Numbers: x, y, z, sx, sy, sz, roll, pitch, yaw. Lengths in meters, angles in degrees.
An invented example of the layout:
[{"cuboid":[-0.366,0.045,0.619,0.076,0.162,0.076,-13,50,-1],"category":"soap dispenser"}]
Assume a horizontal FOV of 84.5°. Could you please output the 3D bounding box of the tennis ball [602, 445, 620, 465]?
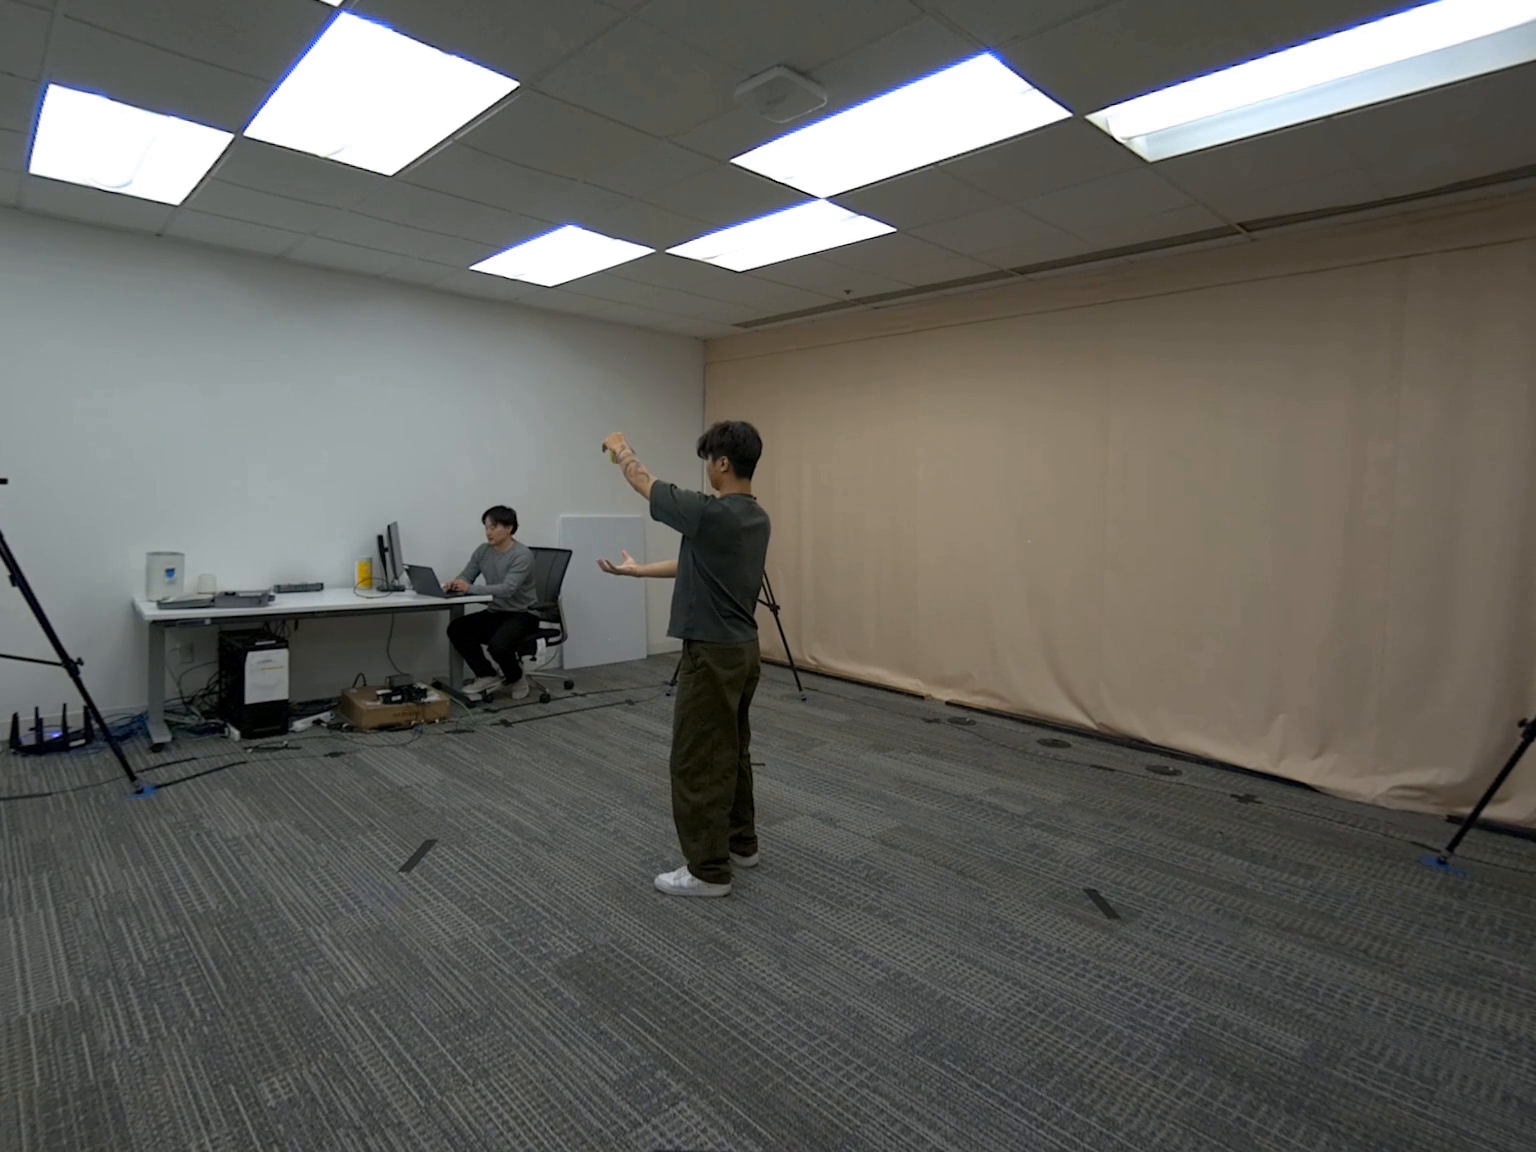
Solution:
[{"cuboid":[-0.614,-0.460,3.244,0.066,0.066,0.067,1,4,-1],"category":"tennis ball"}]
